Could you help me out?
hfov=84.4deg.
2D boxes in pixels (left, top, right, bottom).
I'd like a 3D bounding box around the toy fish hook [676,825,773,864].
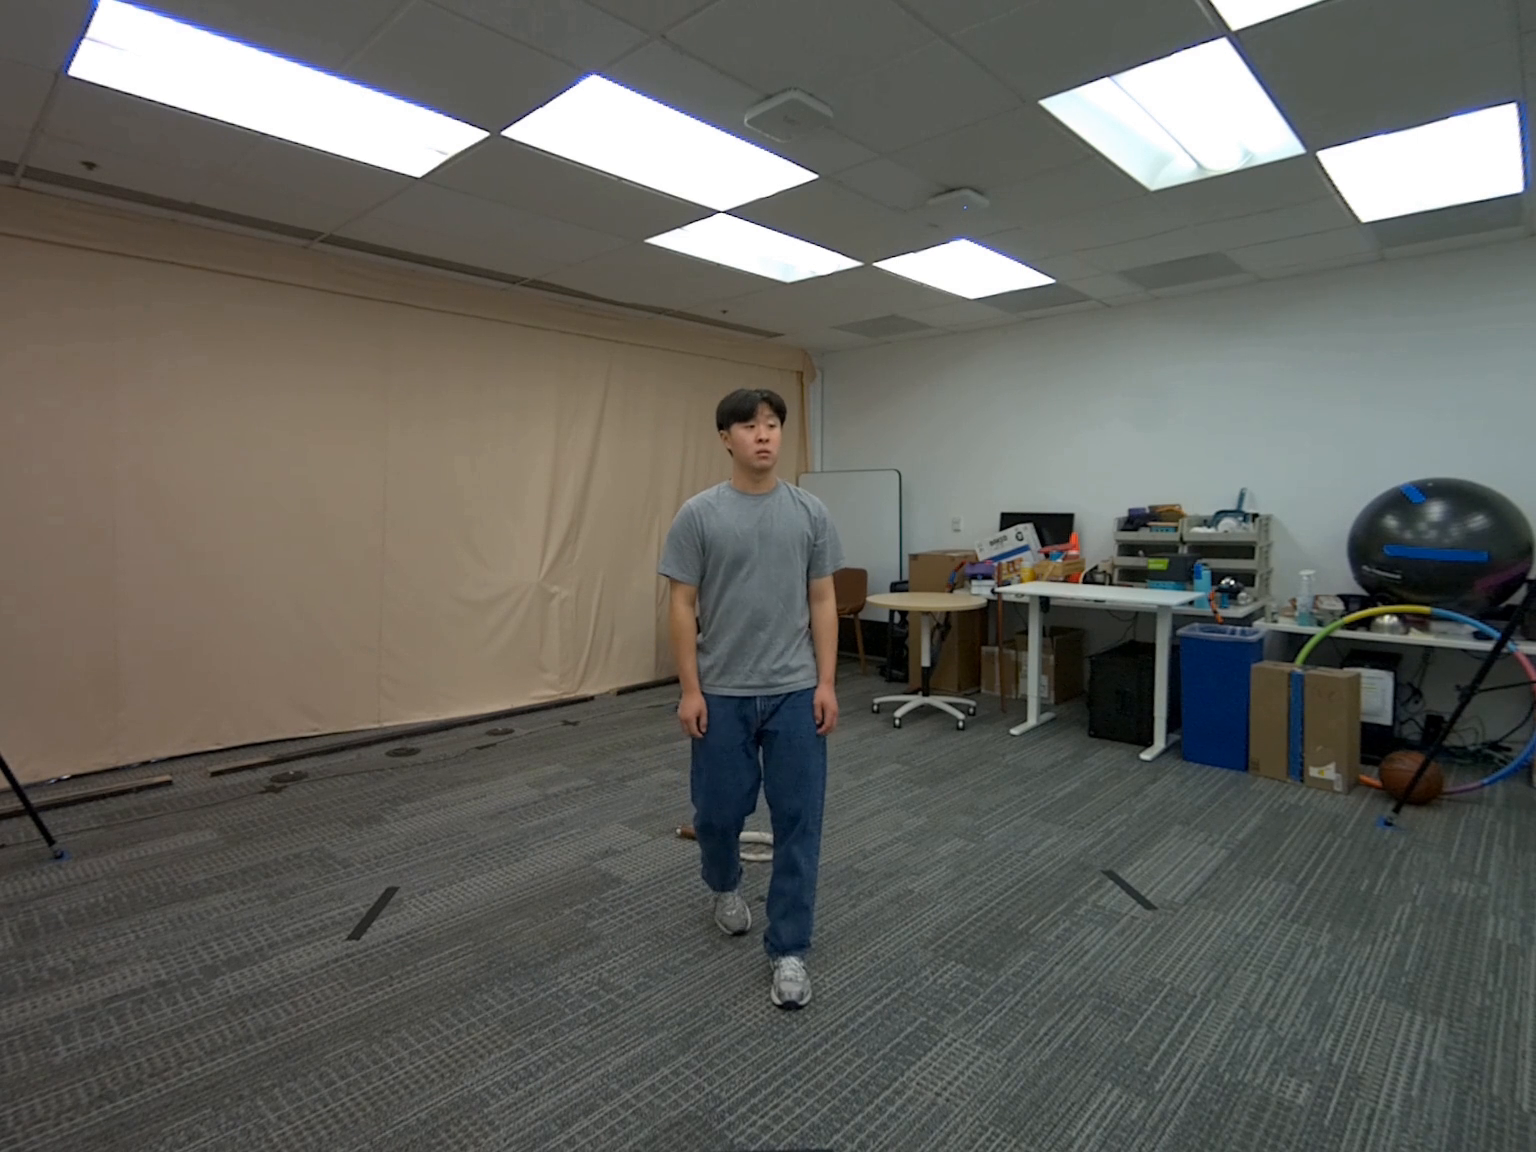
[{"bbox_3d":[-0.158,1.086,3.427,0.516,0.048,0.221,0,4,17],"label":"toy fish hook"}]
